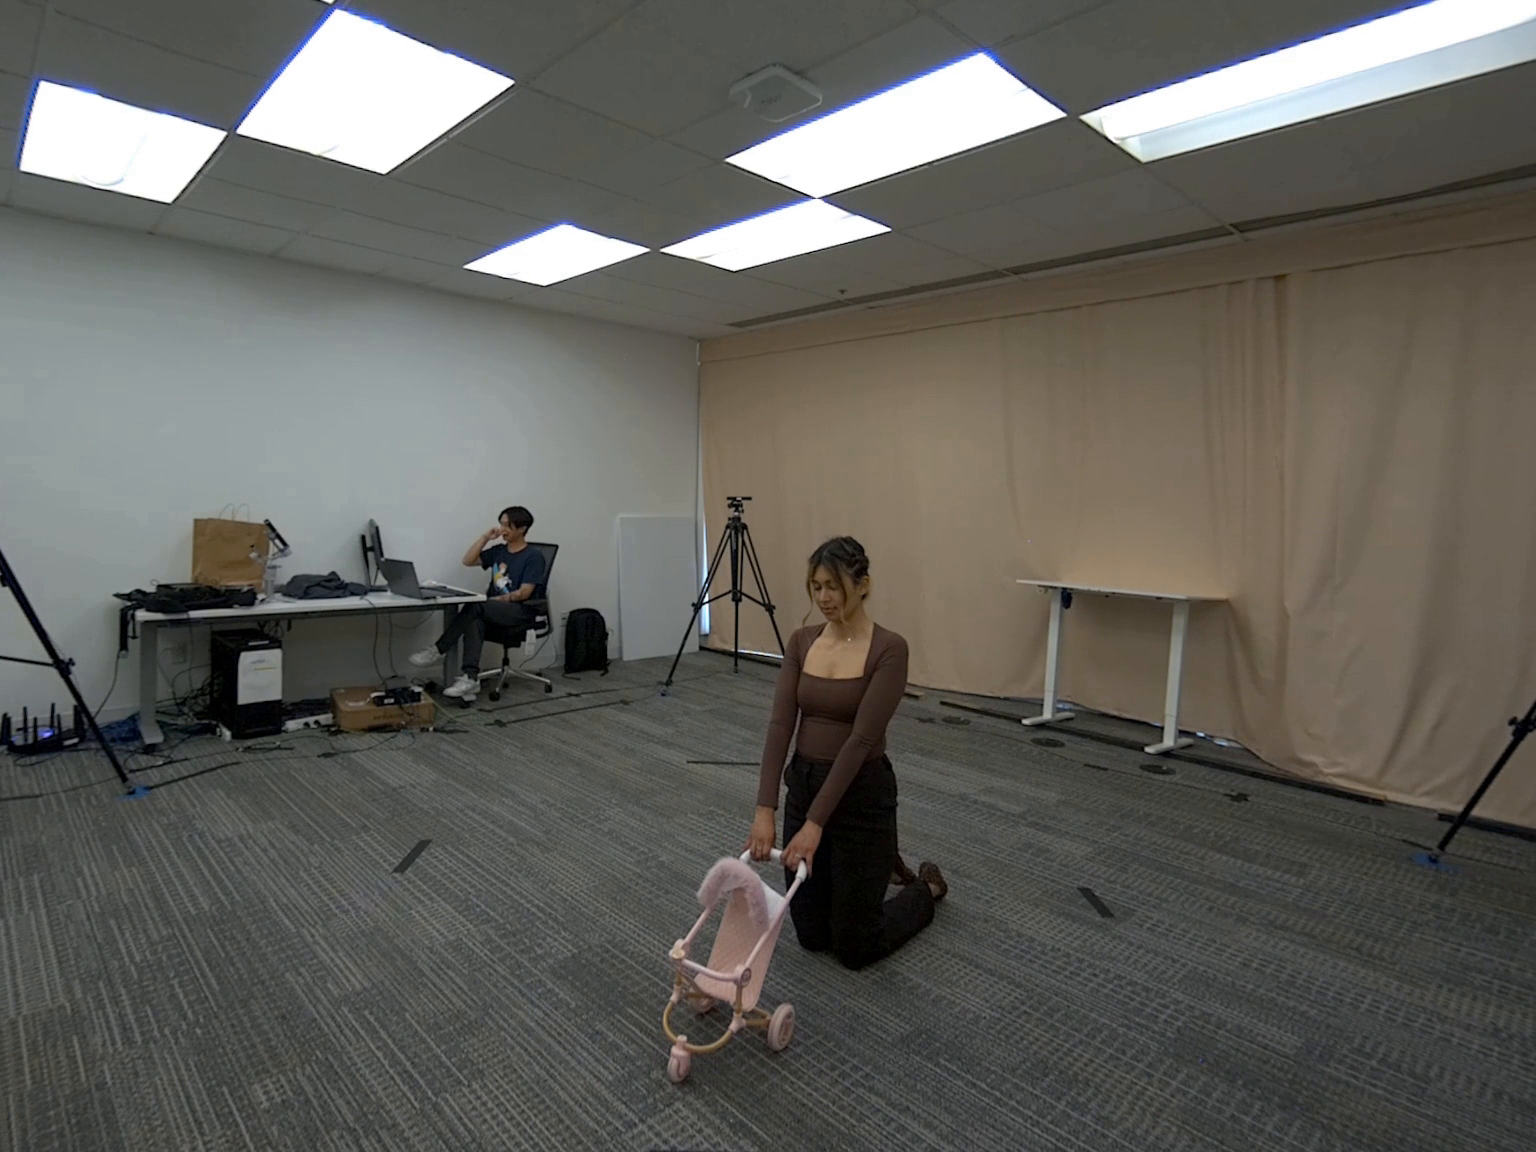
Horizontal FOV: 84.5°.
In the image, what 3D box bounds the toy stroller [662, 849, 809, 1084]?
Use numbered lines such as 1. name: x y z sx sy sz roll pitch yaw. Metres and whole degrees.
1. toy stroller: -0.106 0.973 2.149 0.288 0.538 0.331 3 -13 40
